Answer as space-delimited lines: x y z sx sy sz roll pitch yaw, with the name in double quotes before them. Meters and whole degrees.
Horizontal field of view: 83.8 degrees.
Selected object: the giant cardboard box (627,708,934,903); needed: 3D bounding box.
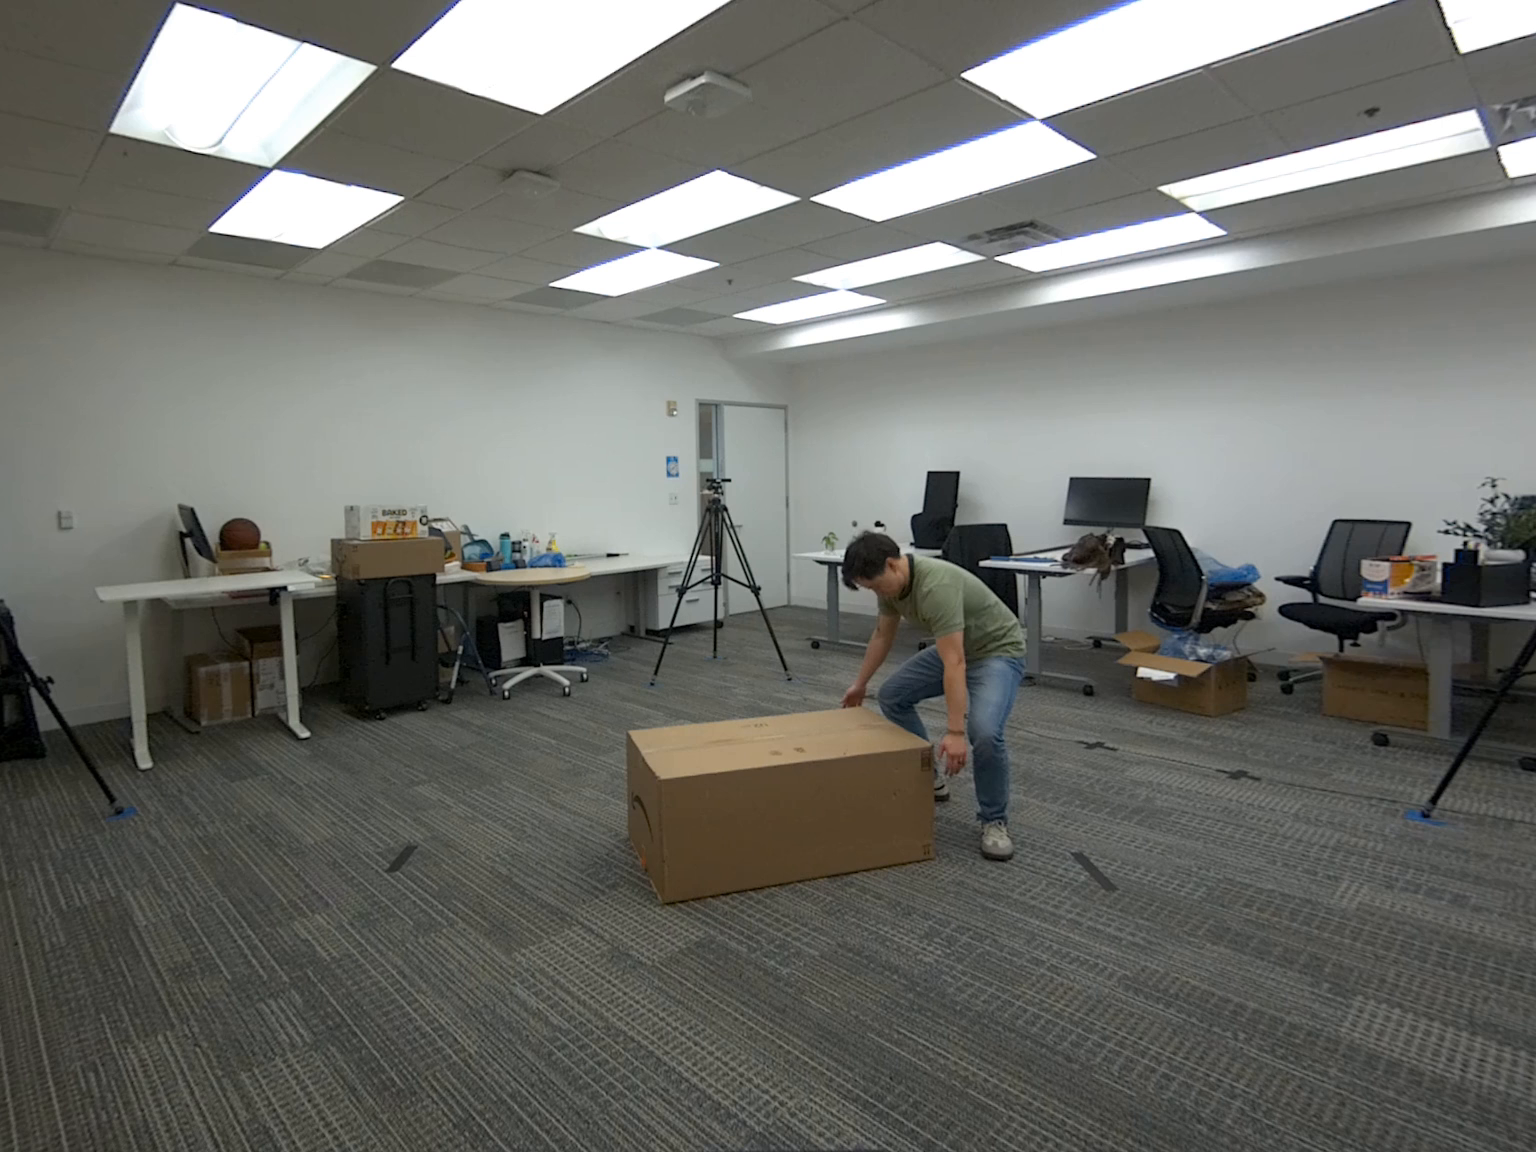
"giant cardboard box" 0.025 0.815 3.215 1.009 0.424 0.589 -3 6 -18
